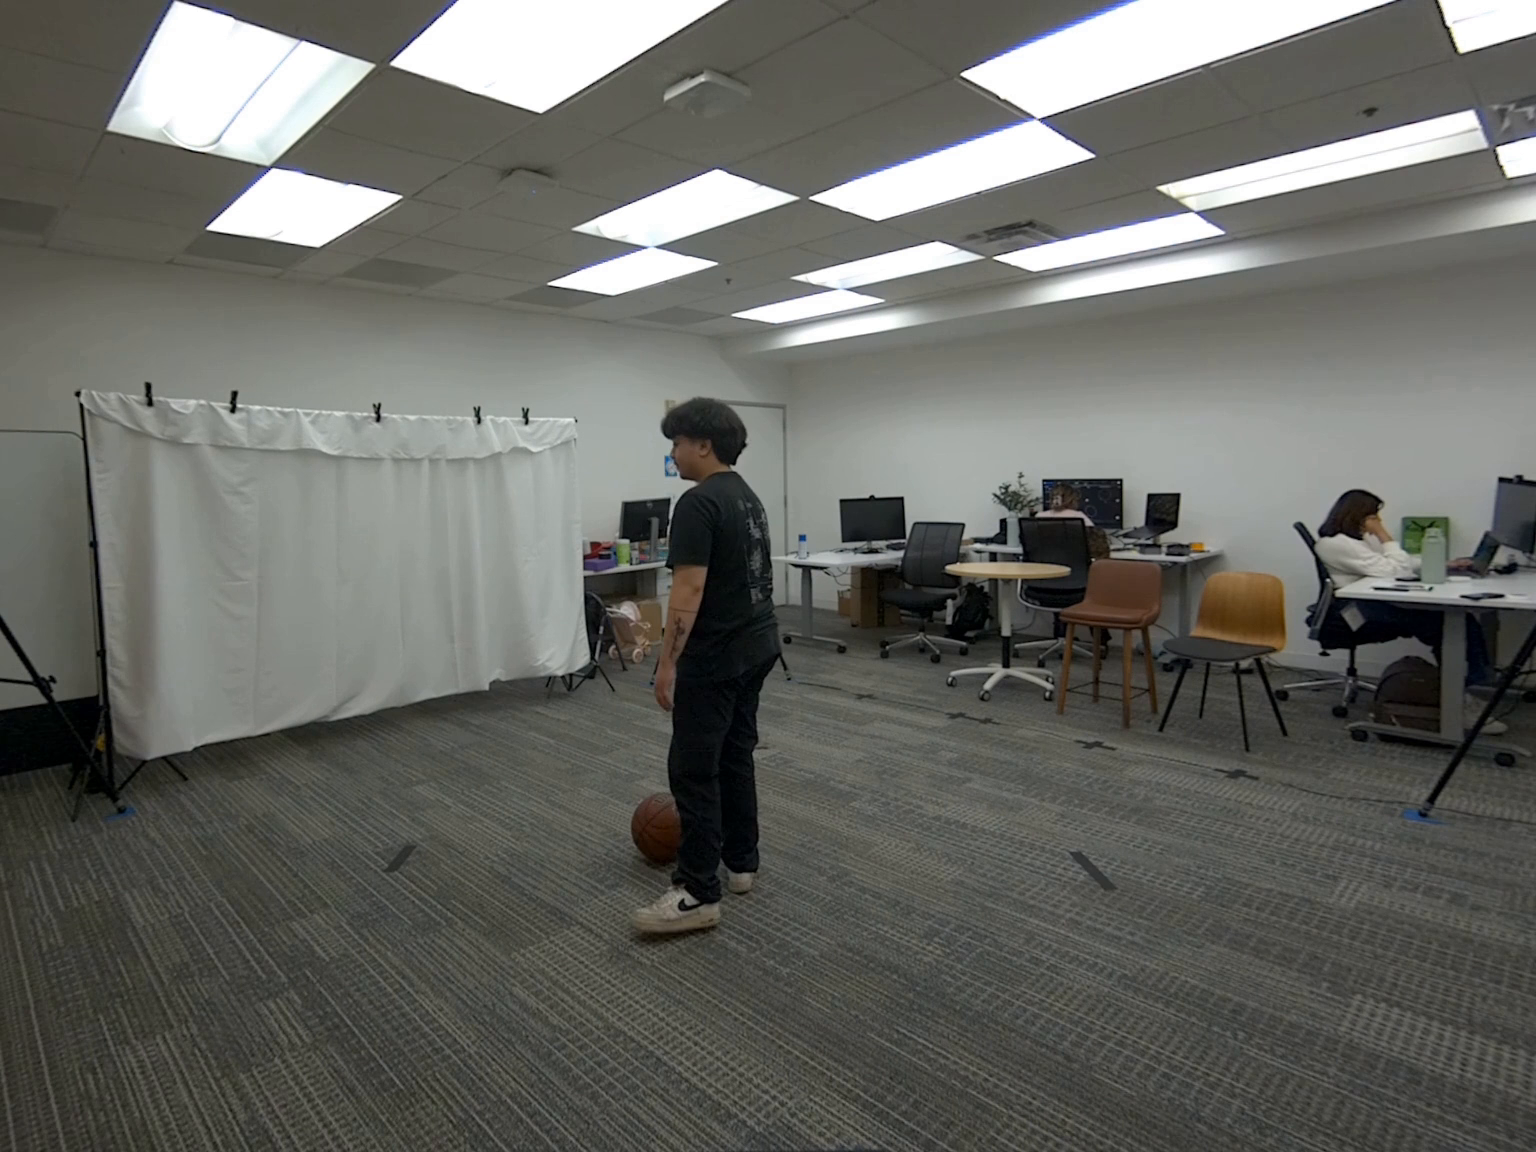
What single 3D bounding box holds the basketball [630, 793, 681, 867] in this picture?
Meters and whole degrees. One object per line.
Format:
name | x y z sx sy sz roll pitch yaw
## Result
basketball | -0.384 0.921 3.153 0.236 0.235 0.237 -1 5 -2
